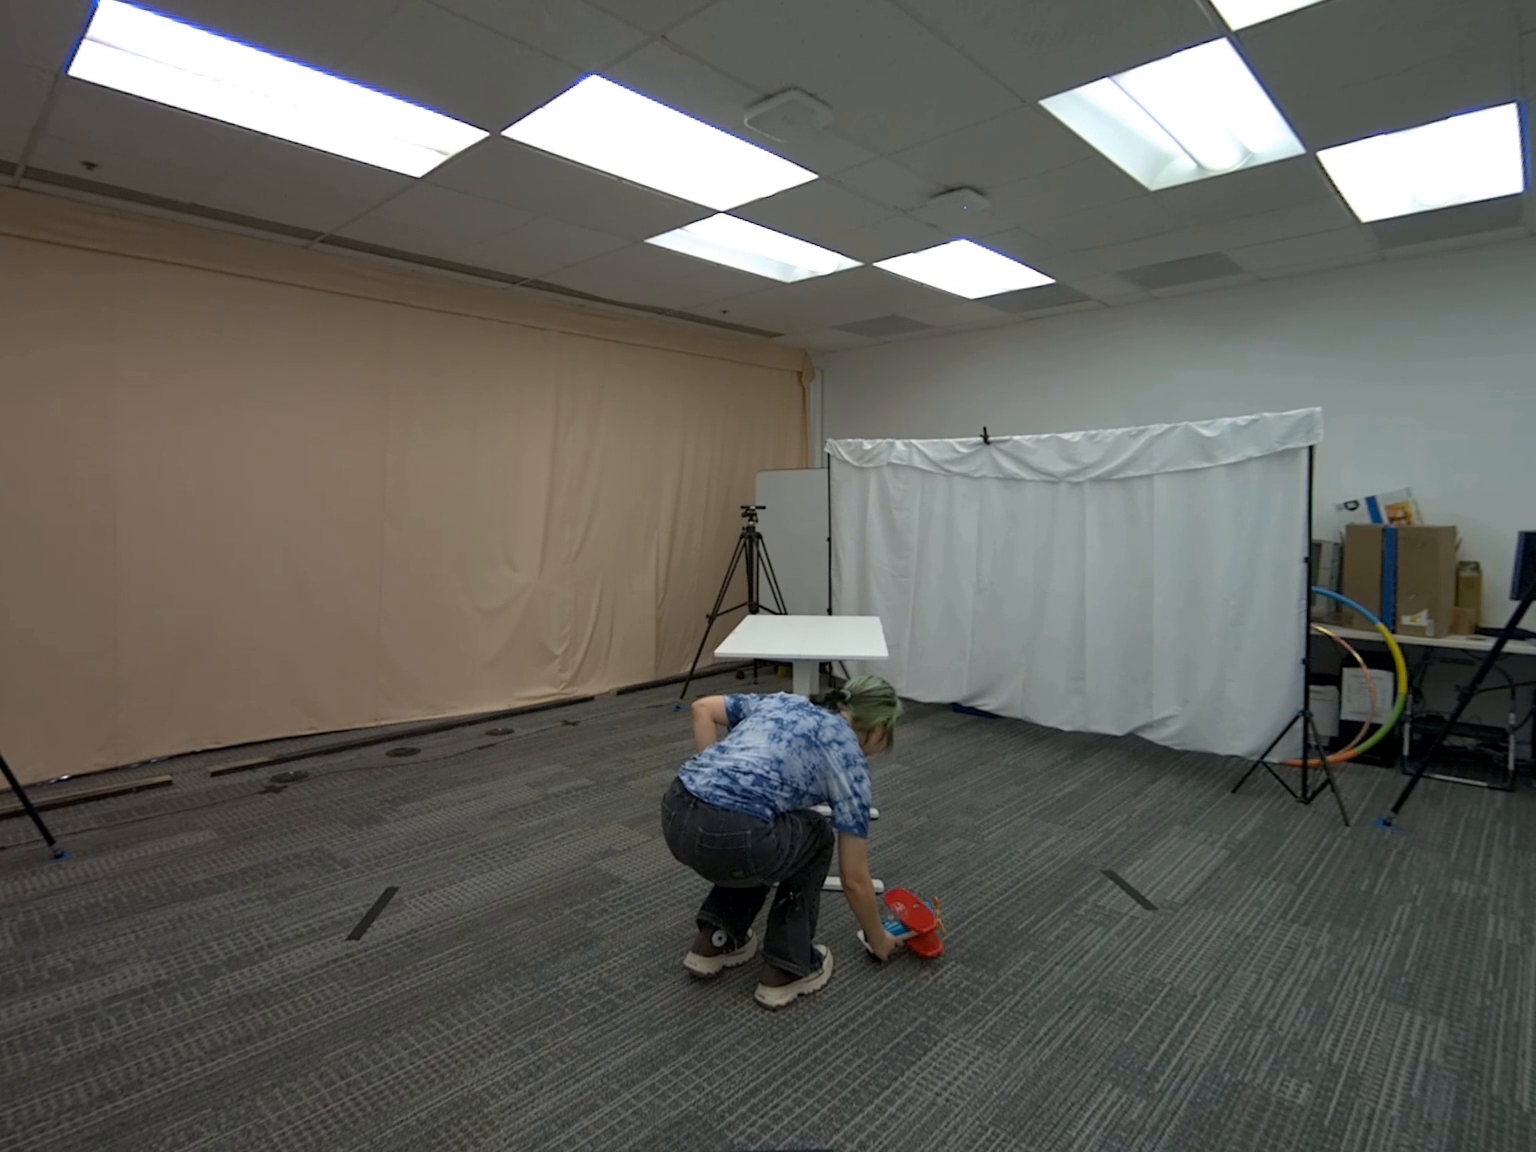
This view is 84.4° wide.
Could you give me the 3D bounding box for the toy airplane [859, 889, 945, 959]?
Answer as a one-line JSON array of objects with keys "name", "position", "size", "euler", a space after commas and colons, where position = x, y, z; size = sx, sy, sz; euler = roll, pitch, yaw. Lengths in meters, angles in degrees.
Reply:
[{"name": "toy airplane", "position": [0.428, 1.108, 2.587], "size": [0.251, 0.156, 0.259], "euler": [-3, 5, -43]}]
